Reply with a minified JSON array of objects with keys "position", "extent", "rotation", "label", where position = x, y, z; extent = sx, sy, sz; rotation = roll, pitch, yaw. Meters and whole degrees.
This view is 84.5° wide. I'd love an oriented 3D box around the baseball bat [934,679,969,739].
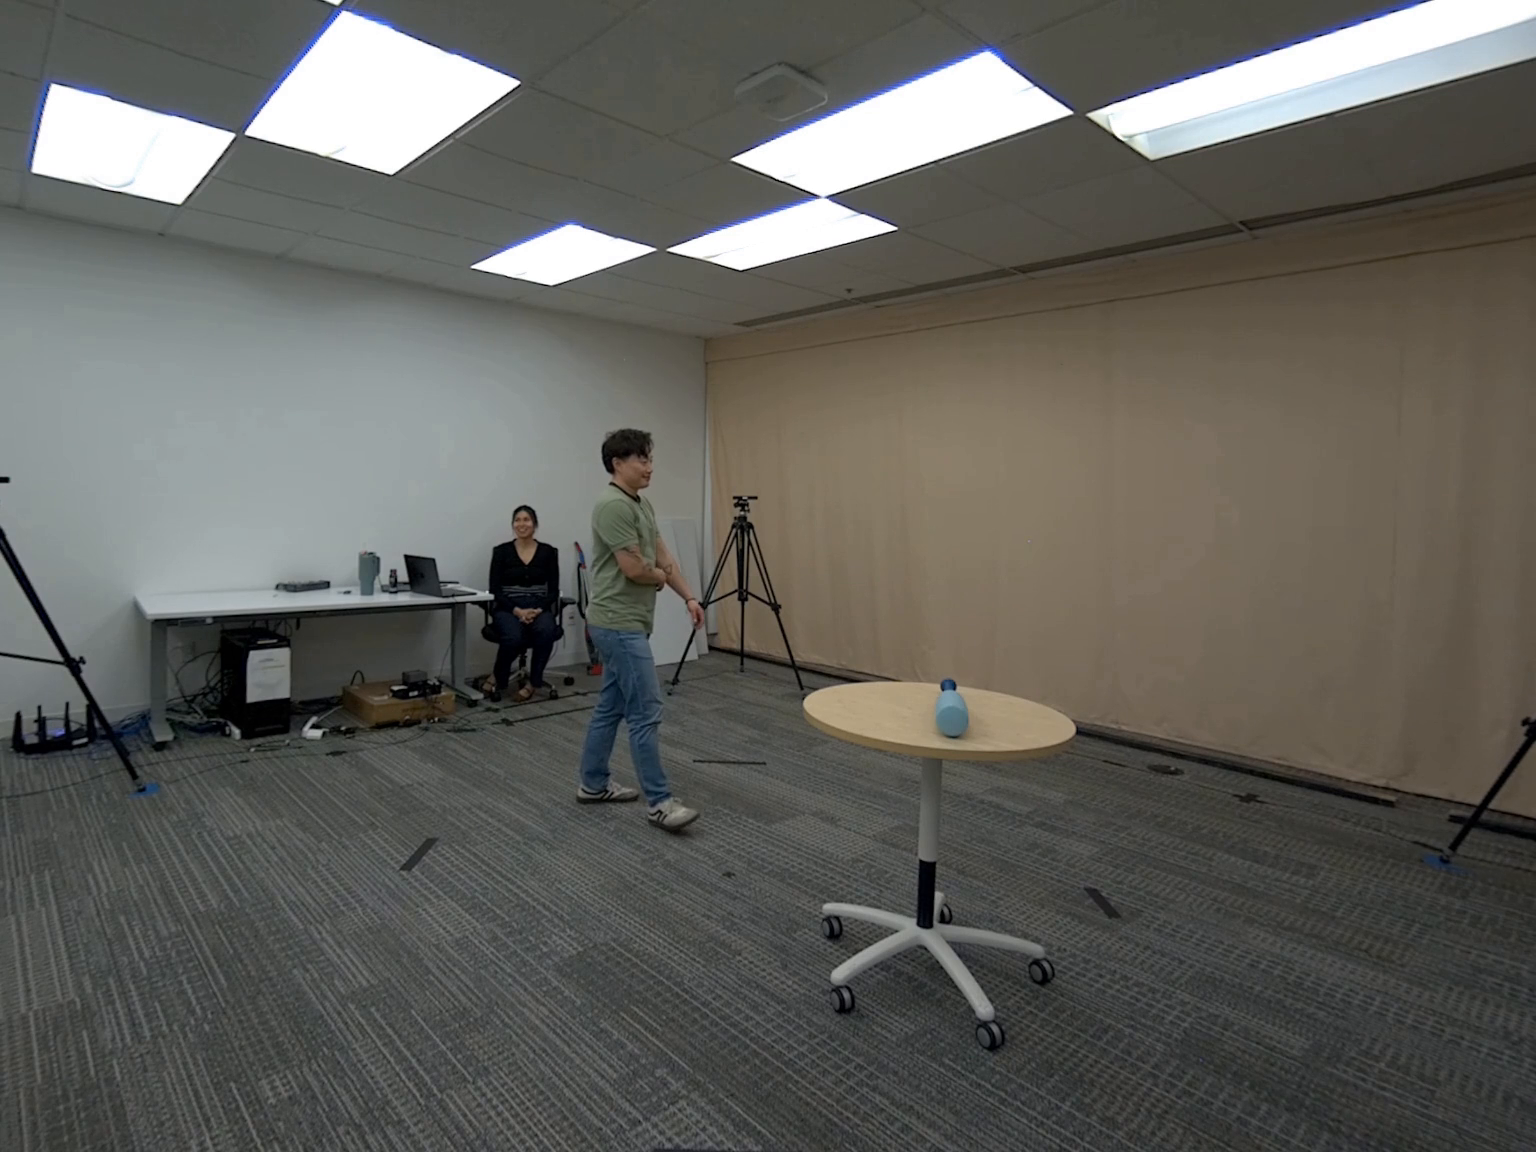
[{"position":[0.523,0.367,2.416],"extent":[0.090,0.089,0.538],"rotation":[2,3,11],"label":"baseball bat"}]
